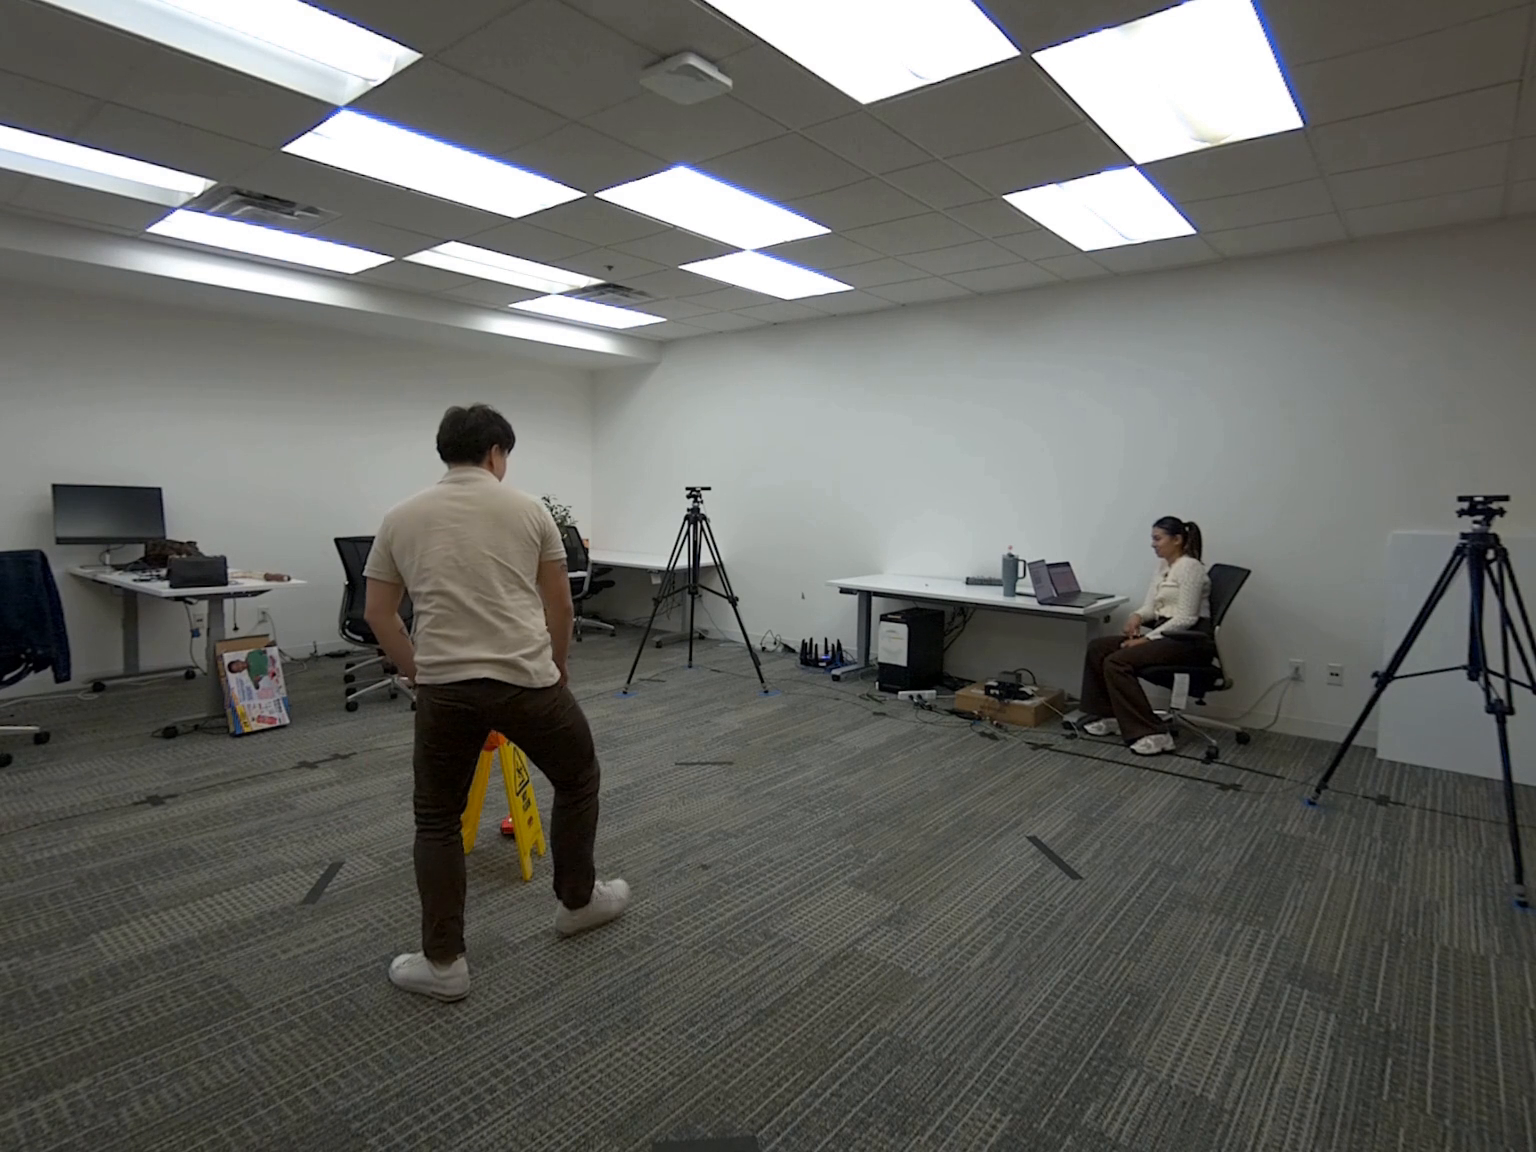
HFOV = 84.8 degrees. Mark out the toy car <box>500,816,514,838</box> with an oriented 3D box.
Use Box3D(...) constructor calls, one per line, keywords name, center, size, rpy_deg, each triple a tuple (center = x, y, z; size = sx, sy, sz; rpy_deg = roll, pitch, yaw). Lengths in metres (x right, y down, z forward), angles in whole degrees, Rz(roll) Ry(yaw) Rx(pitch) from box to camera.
Box3D(name="toy car", center=(-1.013, 0.983, 3.441), size=(0.130, 0.084, 0.253), rpy_deg=(2, -5, -3))
